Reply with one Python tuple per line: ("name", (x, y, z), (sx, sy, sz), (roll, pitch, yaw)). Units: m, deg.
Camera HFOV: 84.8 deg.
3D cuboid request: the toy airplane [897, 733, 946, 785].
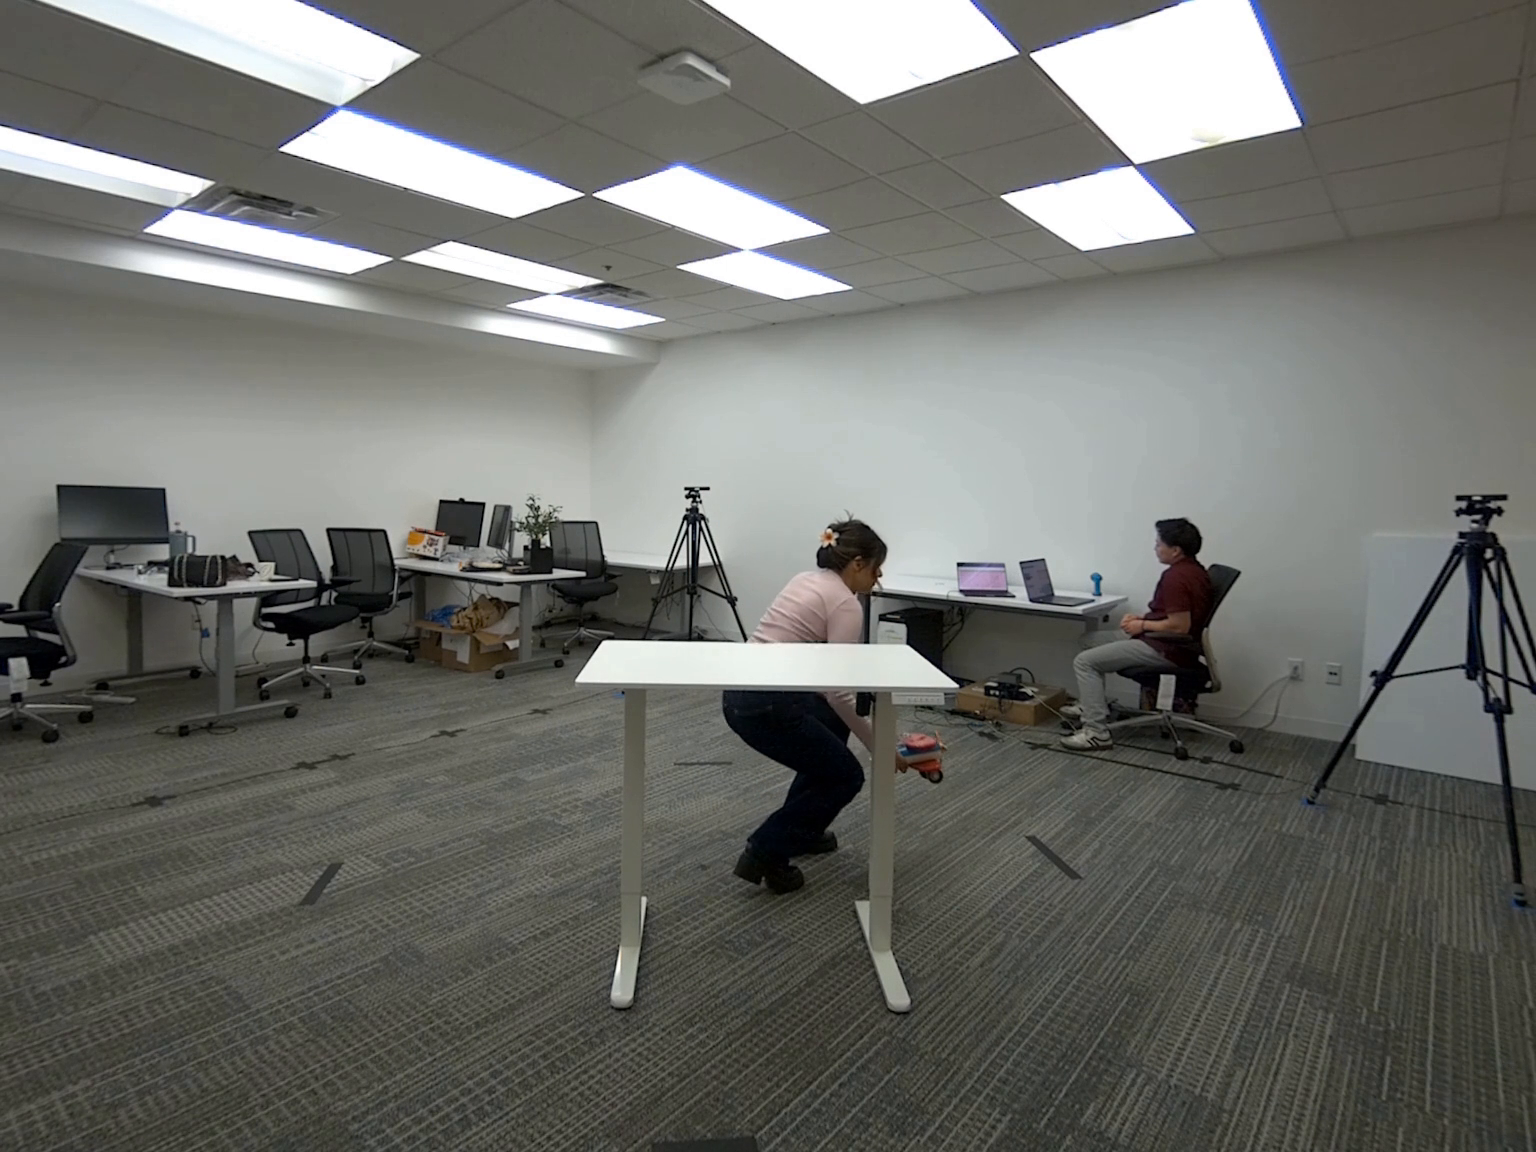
("toy airplane", (0.495, 0.639, 3.001), (0.251, 0.157, 0.258), (7, -2, -32))
